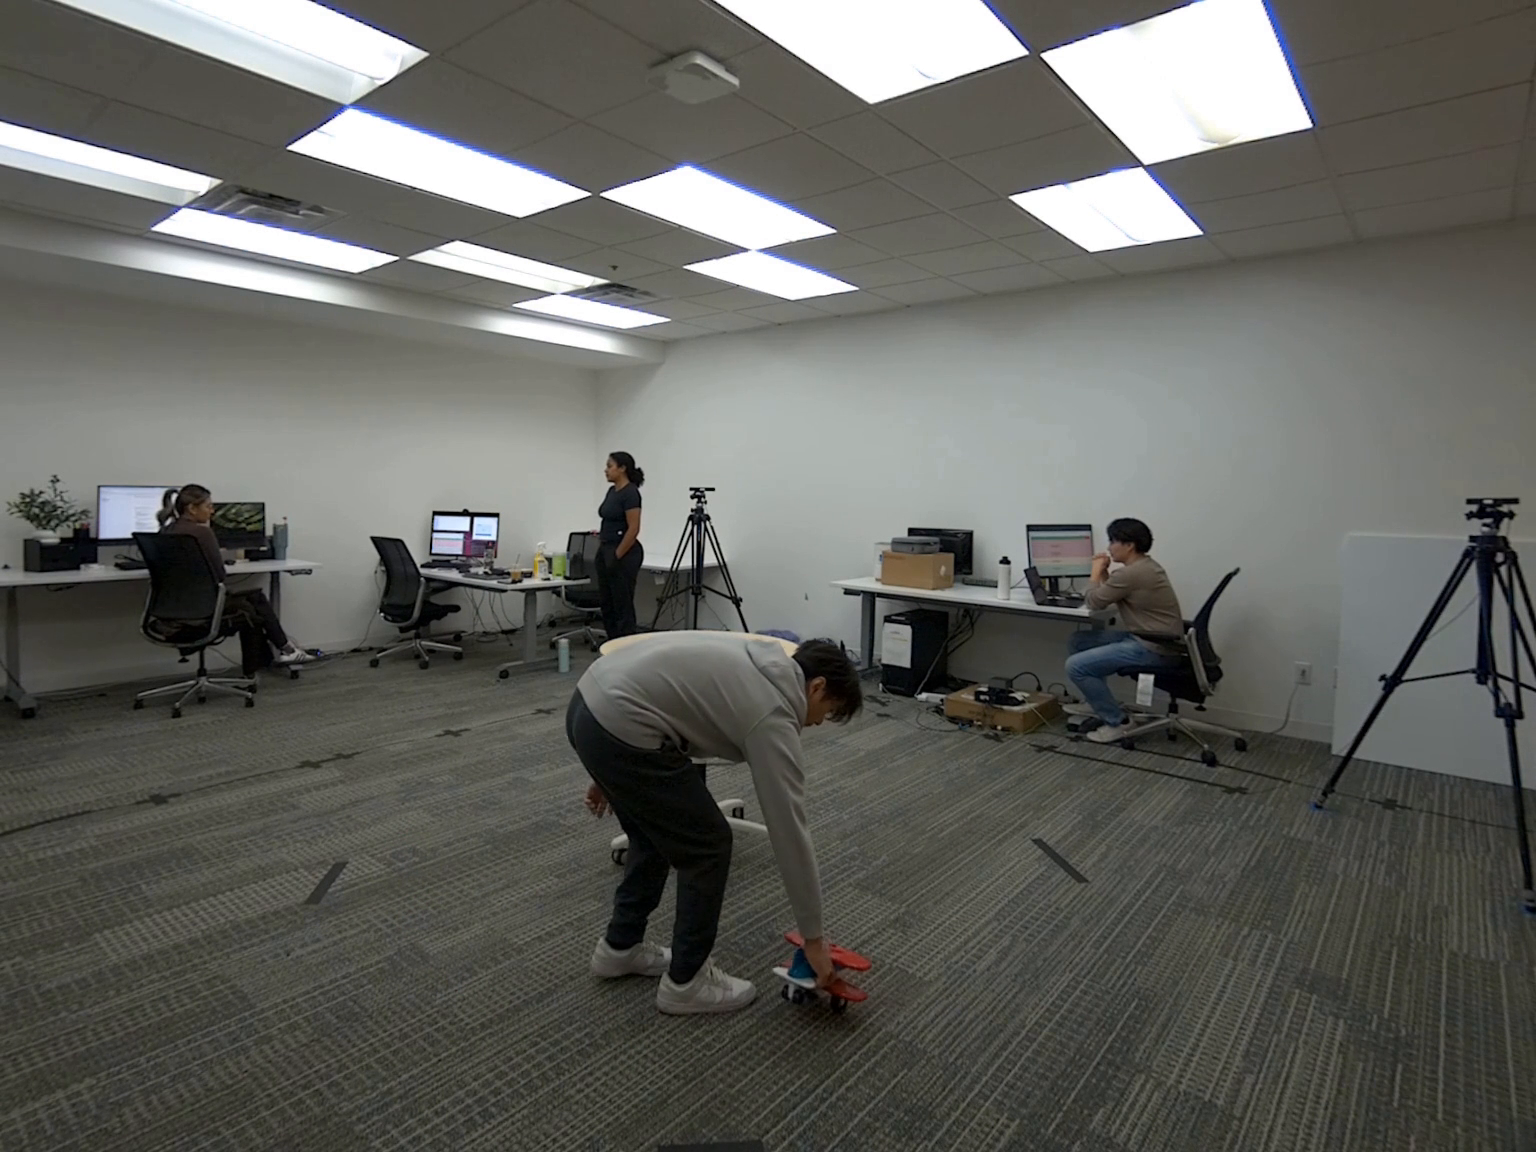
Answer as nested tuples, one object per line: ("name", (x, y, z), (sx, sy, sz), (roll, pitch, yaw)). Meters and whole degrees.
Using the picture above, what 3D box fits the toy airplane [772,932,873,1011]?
("toy airplane", (0.137, 1.058, 2.248), (0.255, 0.158, 0.253), (14, -18, 10))
